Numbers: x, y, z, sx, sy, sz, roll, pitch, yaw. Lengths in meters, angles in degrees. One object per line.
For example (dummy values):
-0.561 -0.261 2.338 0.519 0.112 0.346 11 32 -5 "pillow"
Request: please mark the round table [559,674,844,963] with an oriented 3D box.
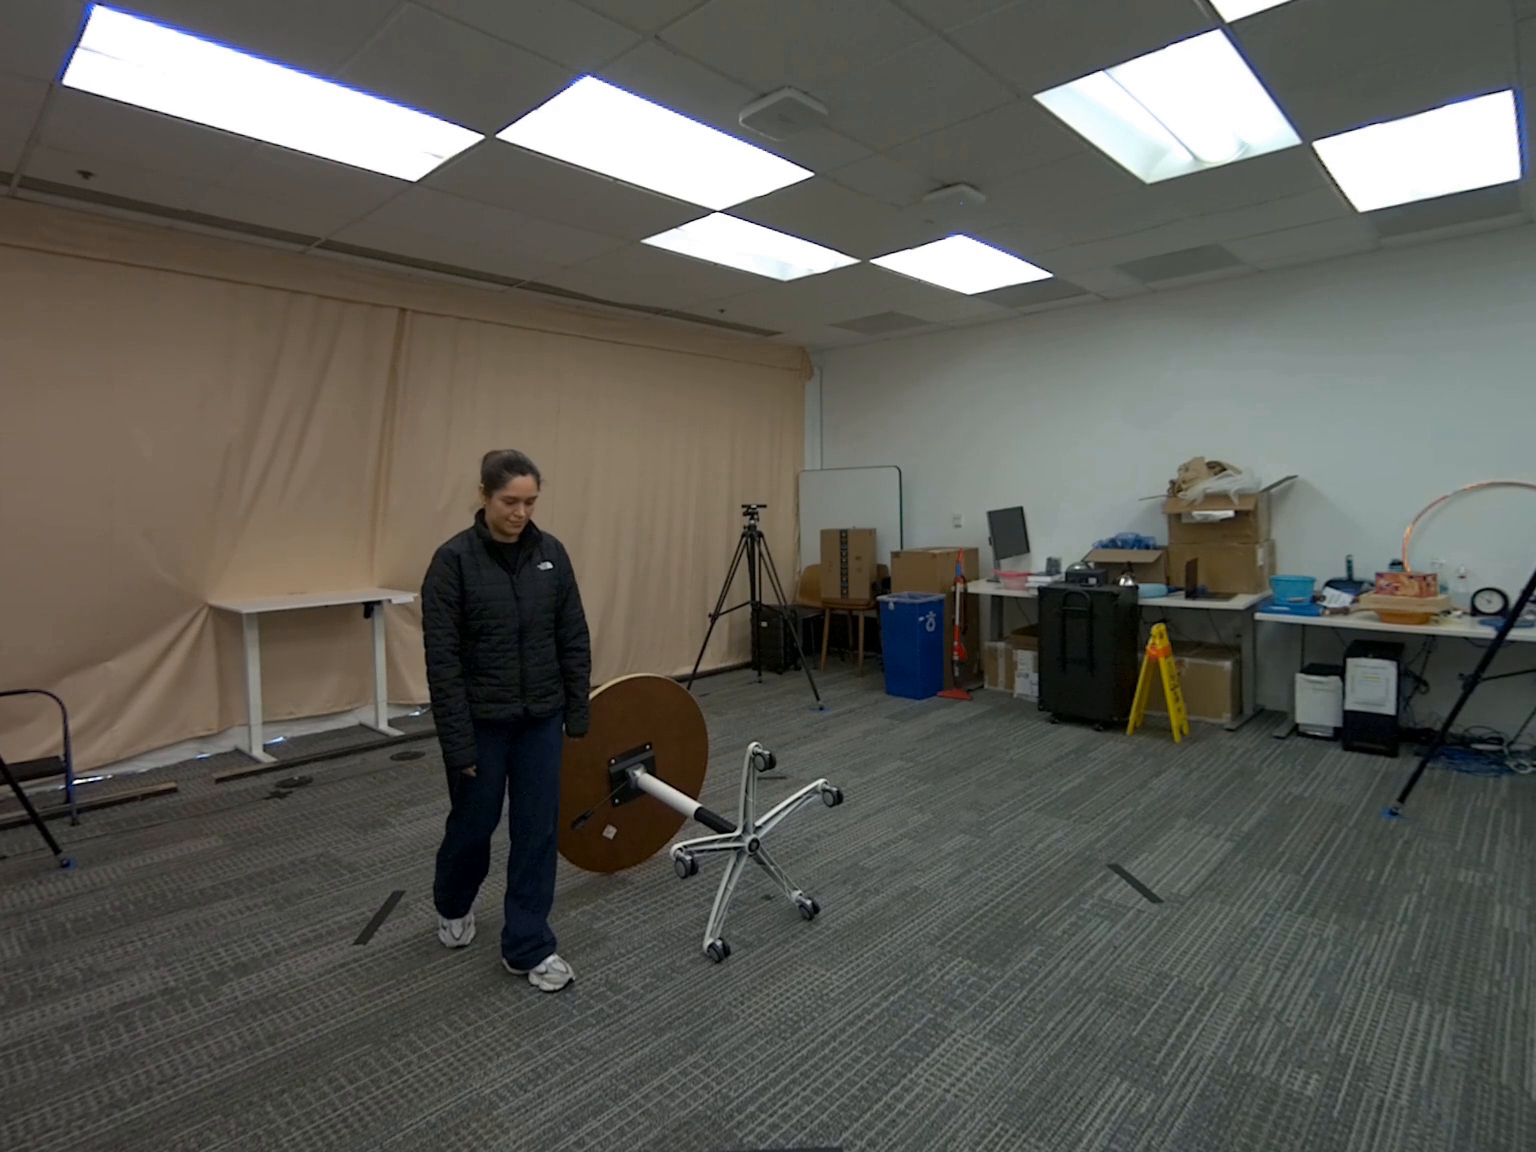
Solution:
-0.249 0.812 2.926 0.761 0.781 0.814 -4 10 -41 "round table"
